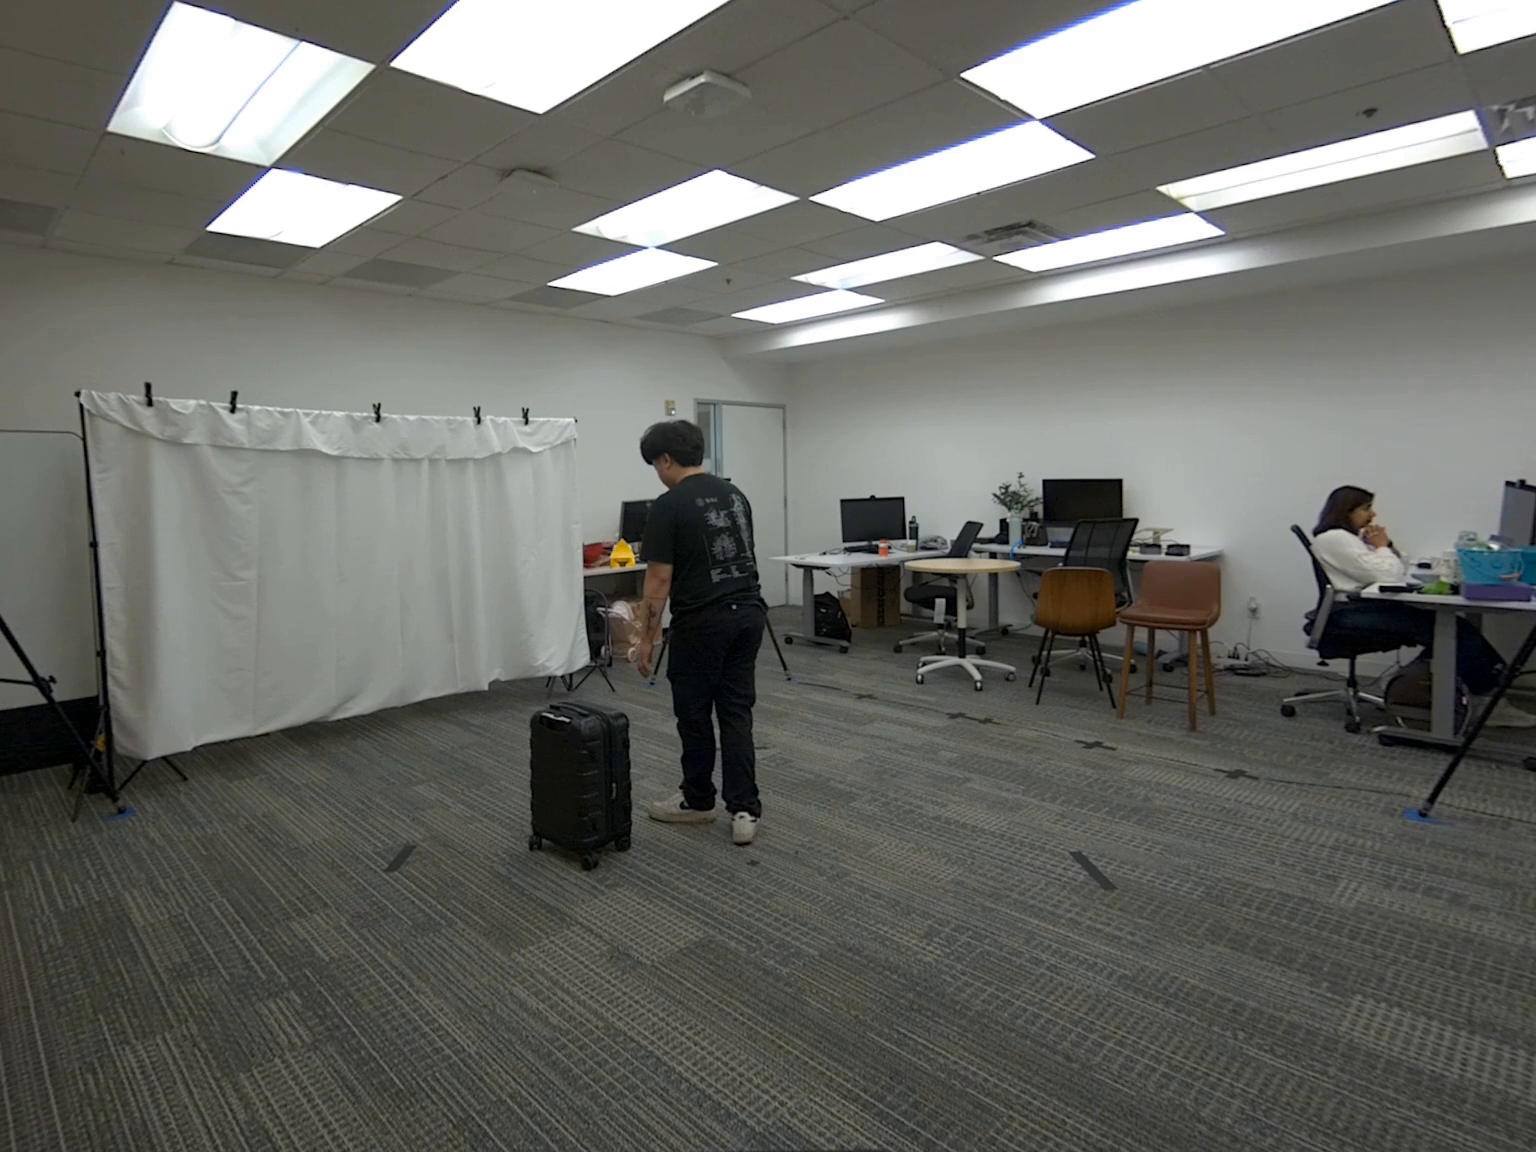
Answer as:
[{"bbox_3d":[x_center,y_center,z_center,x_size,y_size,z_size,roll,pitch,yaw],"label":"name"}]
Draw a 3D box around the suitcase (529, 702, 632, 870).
[{"bbox_3d":[-0.718,0.763,3.251,0.386,0.548,0.241,1,3,39],"label":"suitcase"}]
